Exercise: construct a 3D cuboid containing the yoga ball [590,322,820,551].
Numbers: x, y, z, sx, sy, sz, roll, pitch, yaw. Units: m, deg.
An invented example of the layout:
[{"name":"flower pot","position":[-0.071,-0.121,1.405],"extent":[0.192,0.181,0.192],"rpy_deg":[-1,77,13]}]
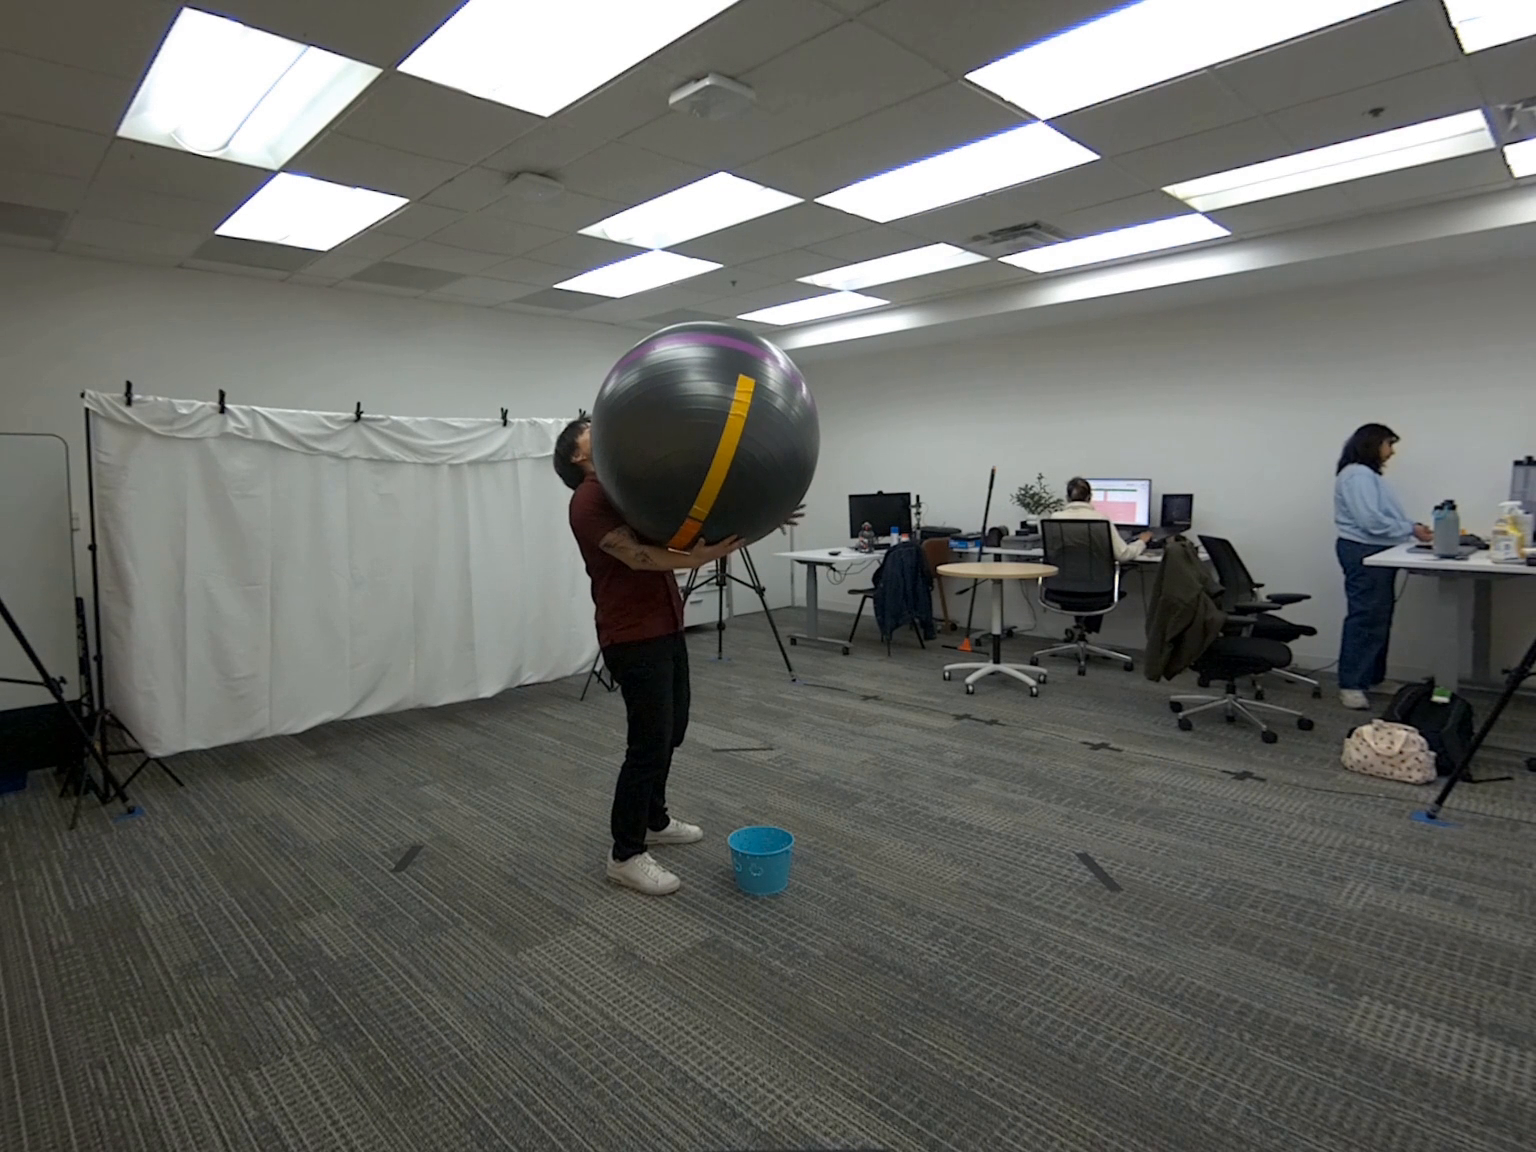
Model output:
[{"name":"yoga ball","position":[-0.208,-0.443,2.829],"extent":[0.757,0.755,0.762],"rpy_deg":[-1,5,-2]}]
